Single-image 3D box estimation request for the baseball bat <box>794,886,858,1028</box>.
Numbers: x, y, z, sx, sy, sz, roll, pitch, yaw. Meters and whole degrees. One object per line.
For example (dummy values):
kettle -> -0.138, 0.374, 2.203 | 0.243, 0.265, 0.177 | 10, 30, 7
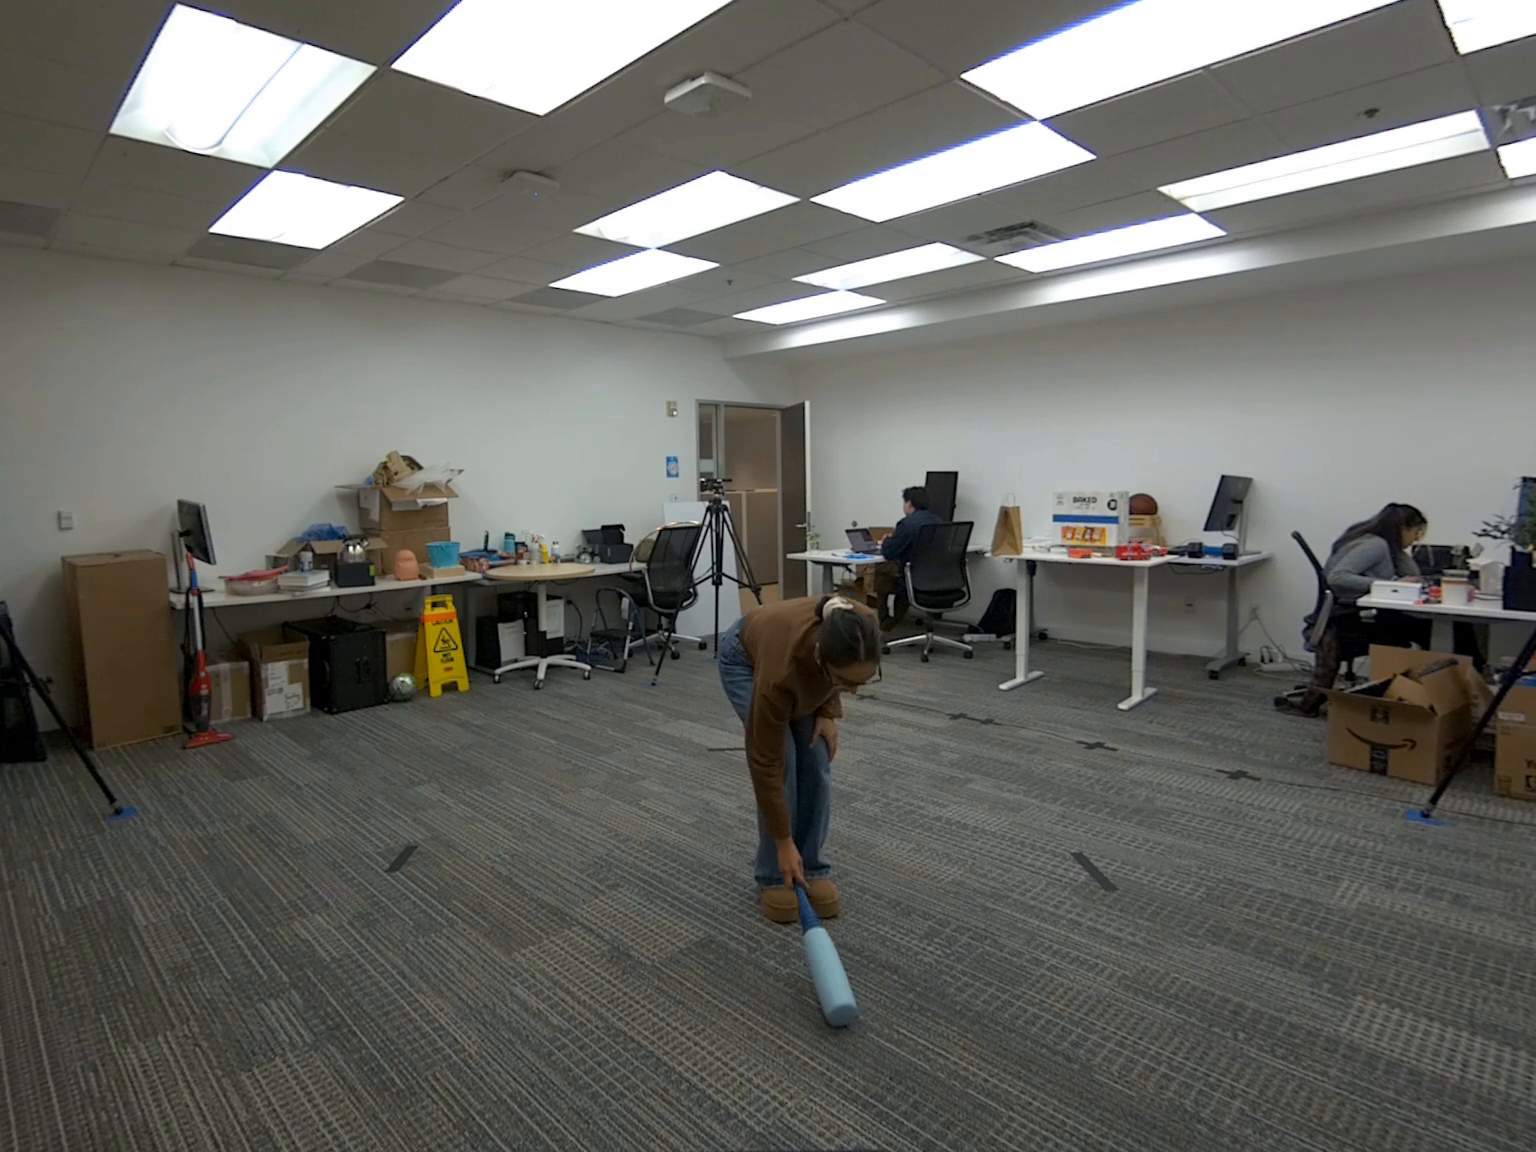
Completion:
baseball bat -> 0.132, 0.996, 2.400 | 0.088, 0.087, 0.559 | -2, 25, -13
